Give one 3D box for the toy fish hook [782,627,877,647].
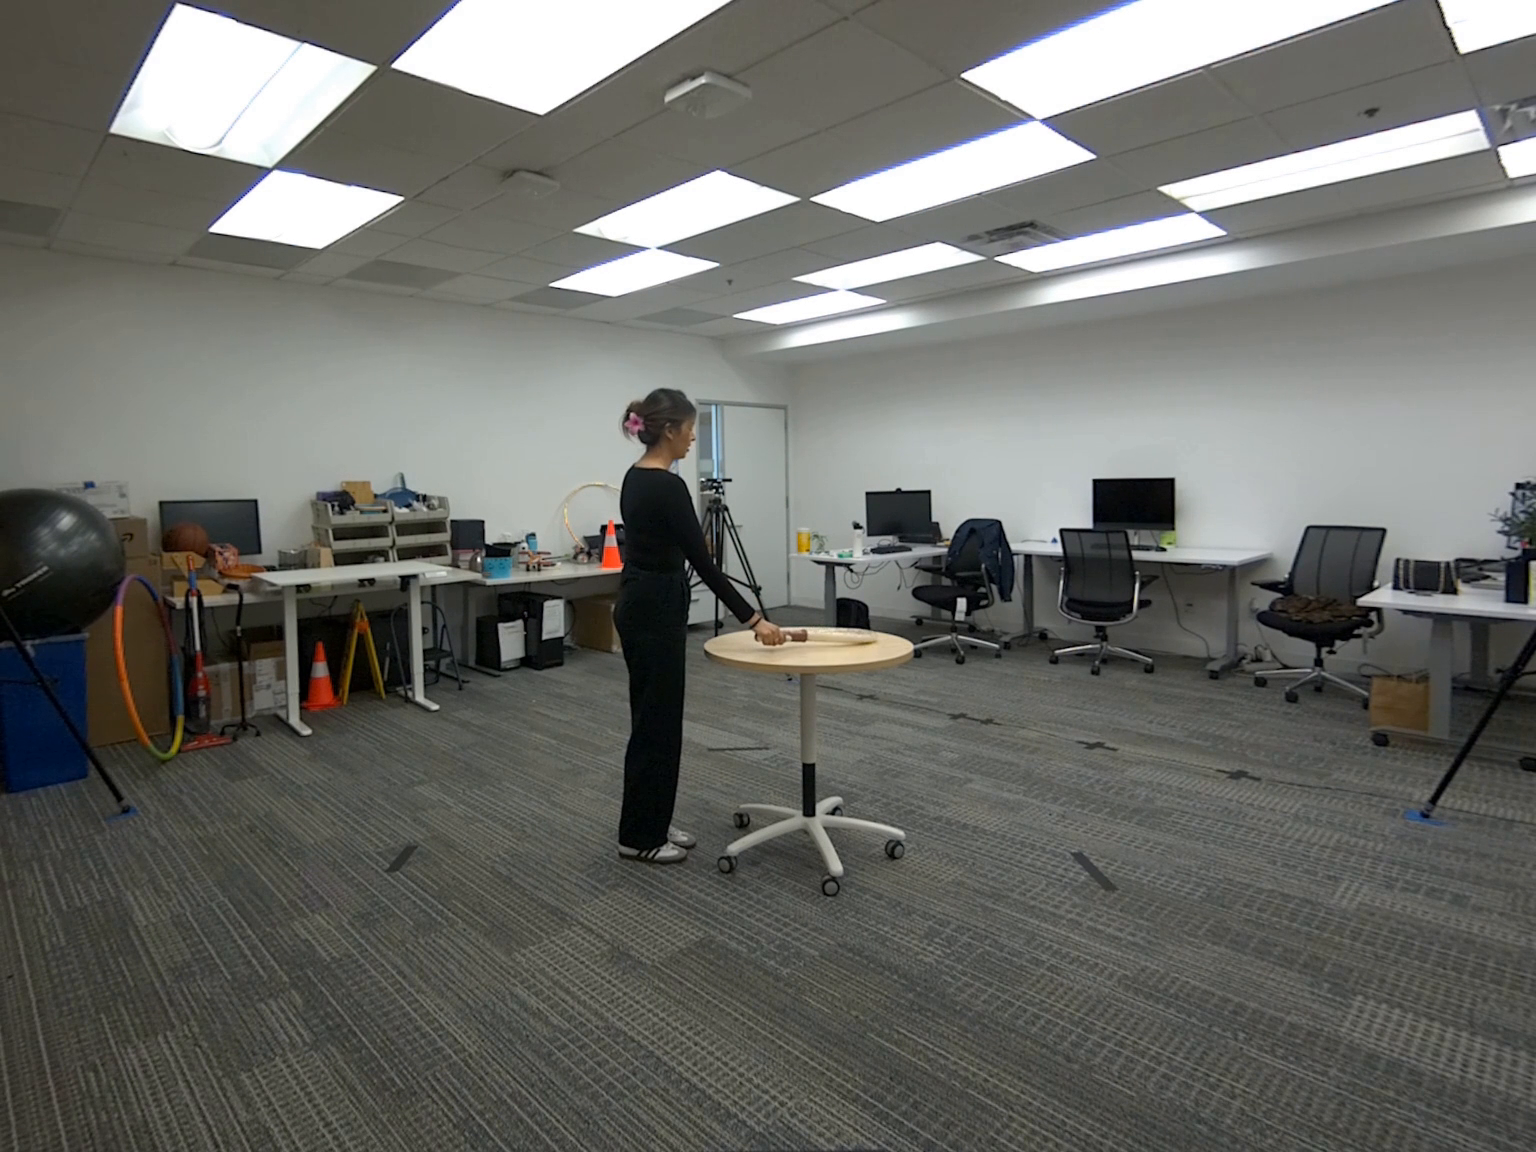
[{"bbox_3d":[0.158,0.223,3.166,0.496,0.048,0.229,2,1,-22],"label":"toy fish hook"}]
